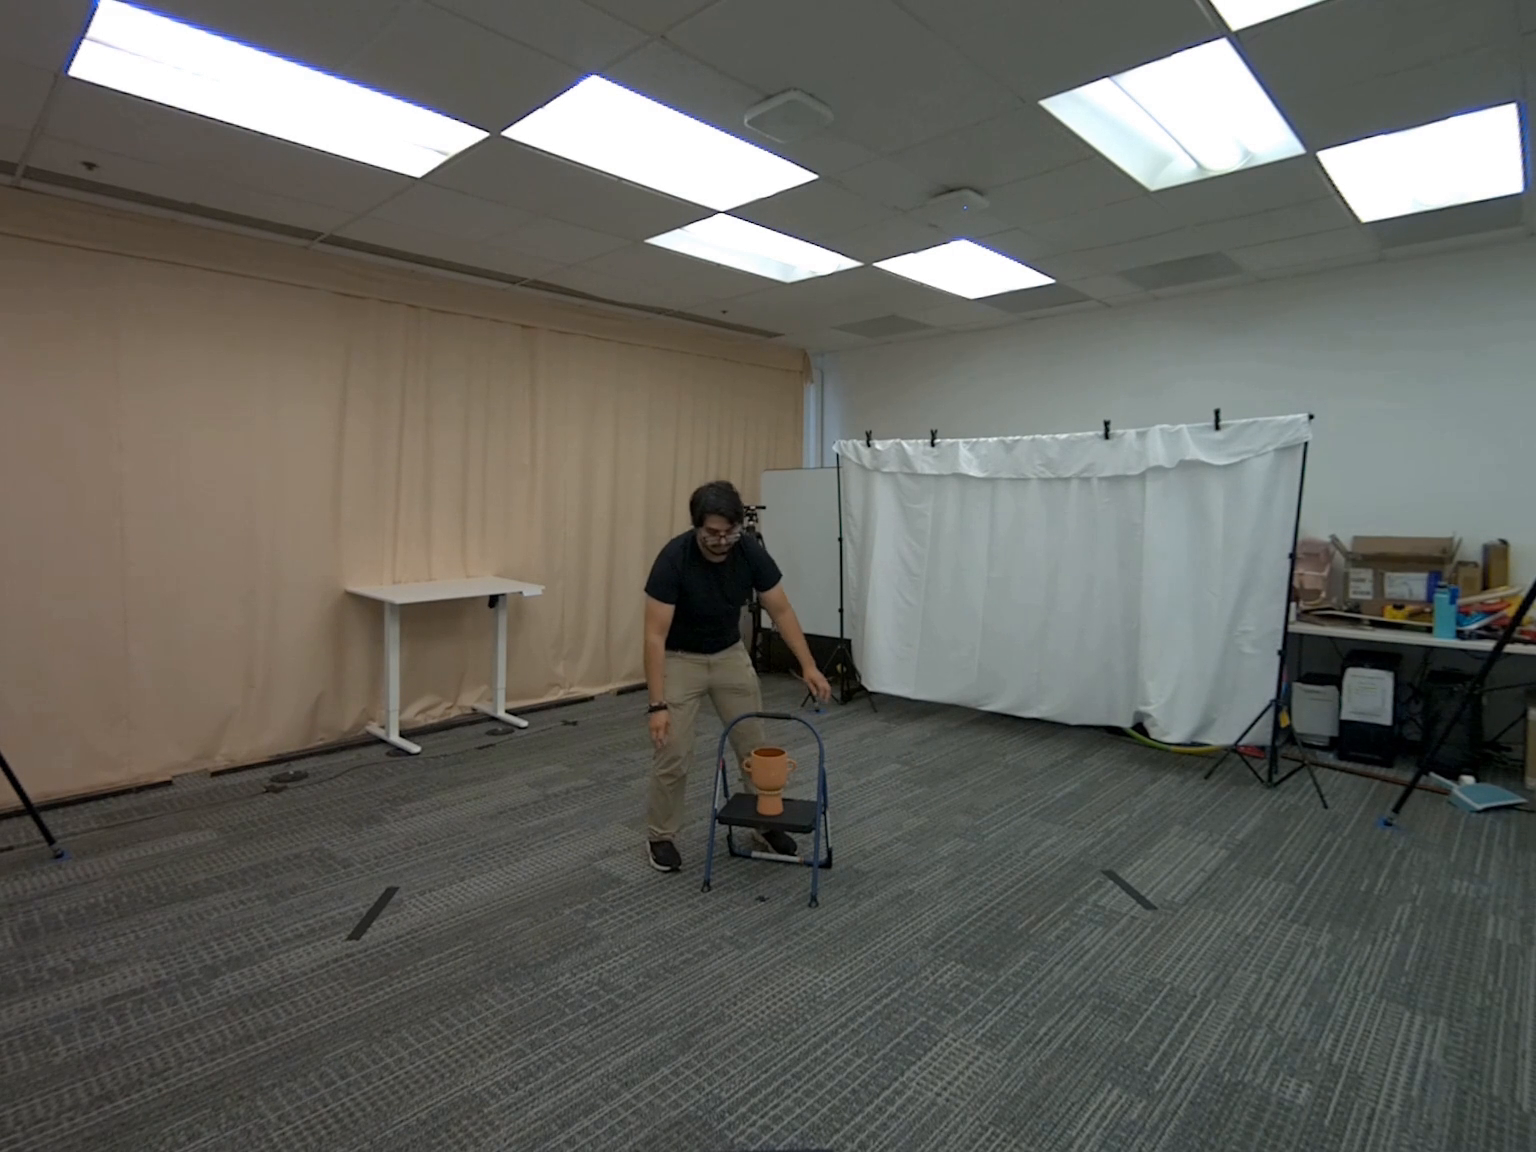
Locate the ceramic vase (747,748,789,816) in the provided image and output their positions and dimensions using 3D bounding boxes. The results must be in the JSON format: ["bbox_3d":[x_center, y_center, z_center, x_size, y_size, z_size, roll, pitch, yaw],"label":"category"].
[{"bbox_3d":[0.009,0.762,3.115,0.164,0.219,0.130,3,5,40],"label":"ceramic vase"}]
